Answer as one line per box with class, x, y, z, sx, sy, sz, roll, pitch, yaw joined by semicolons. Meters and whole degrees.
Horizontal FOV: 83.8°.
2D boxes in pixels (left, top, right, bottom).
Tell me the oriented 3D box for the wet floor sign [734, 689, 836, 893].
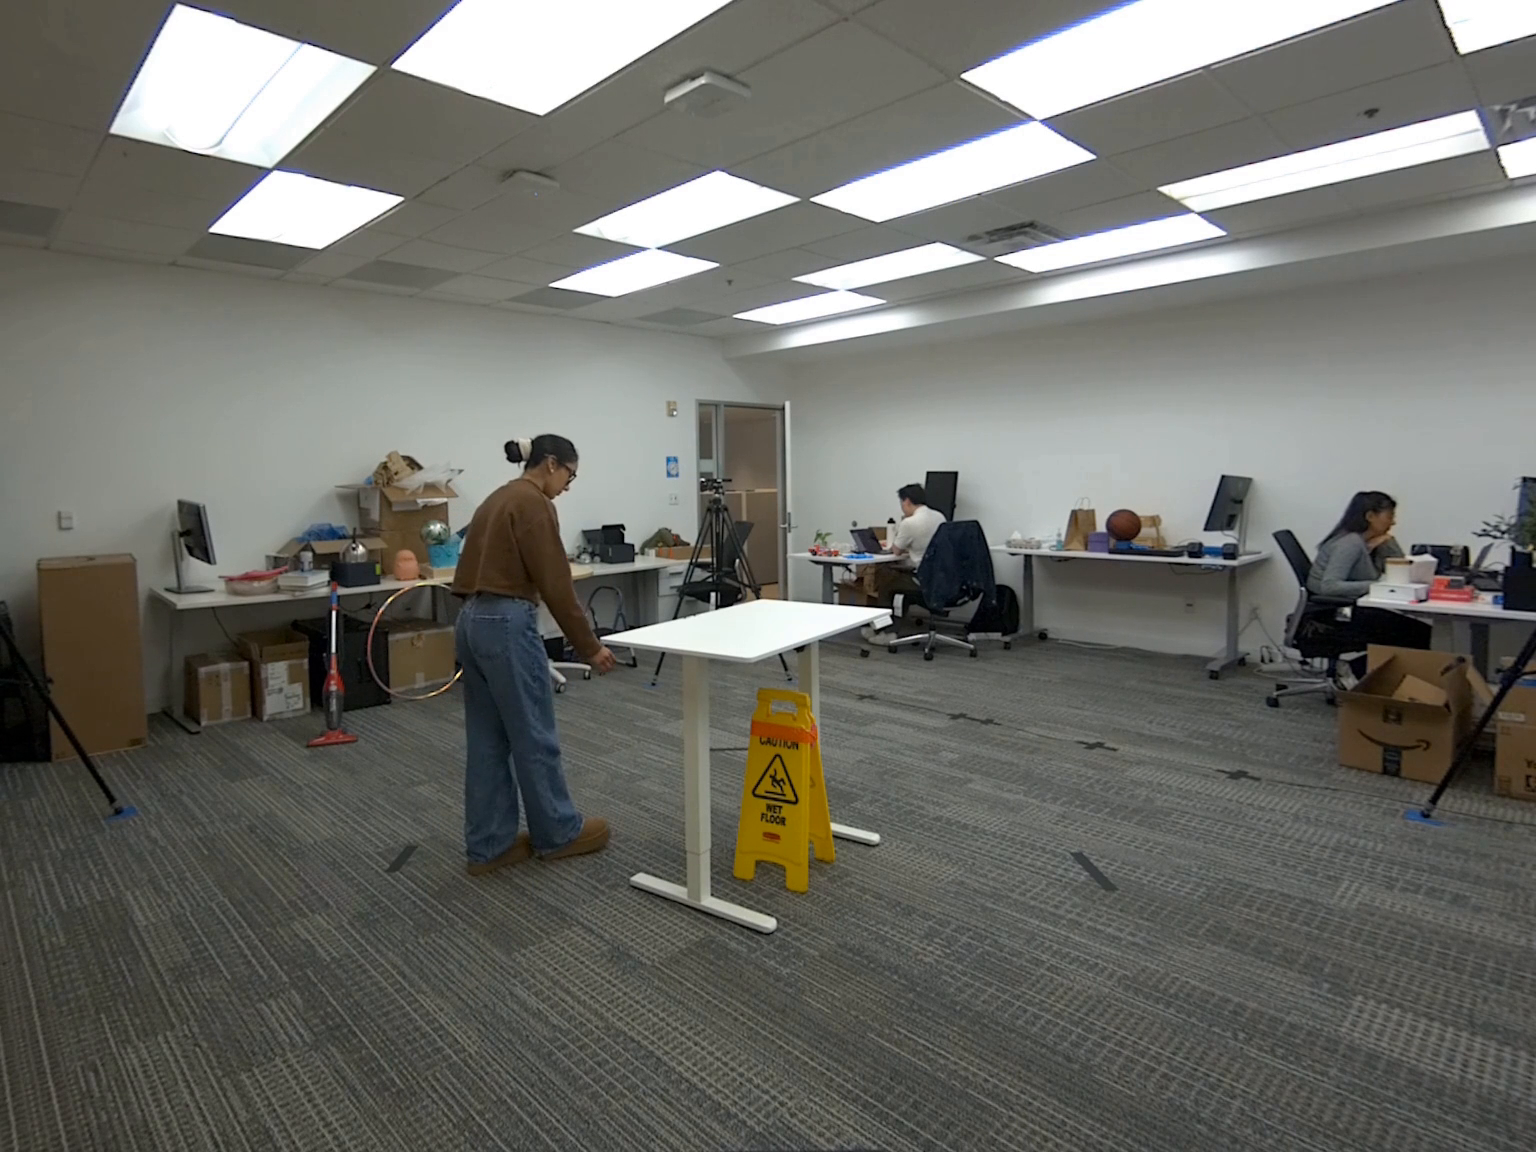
wet floor sign;0.057;0.724;3.033;0.289;0.643;0.284;1;5;26
